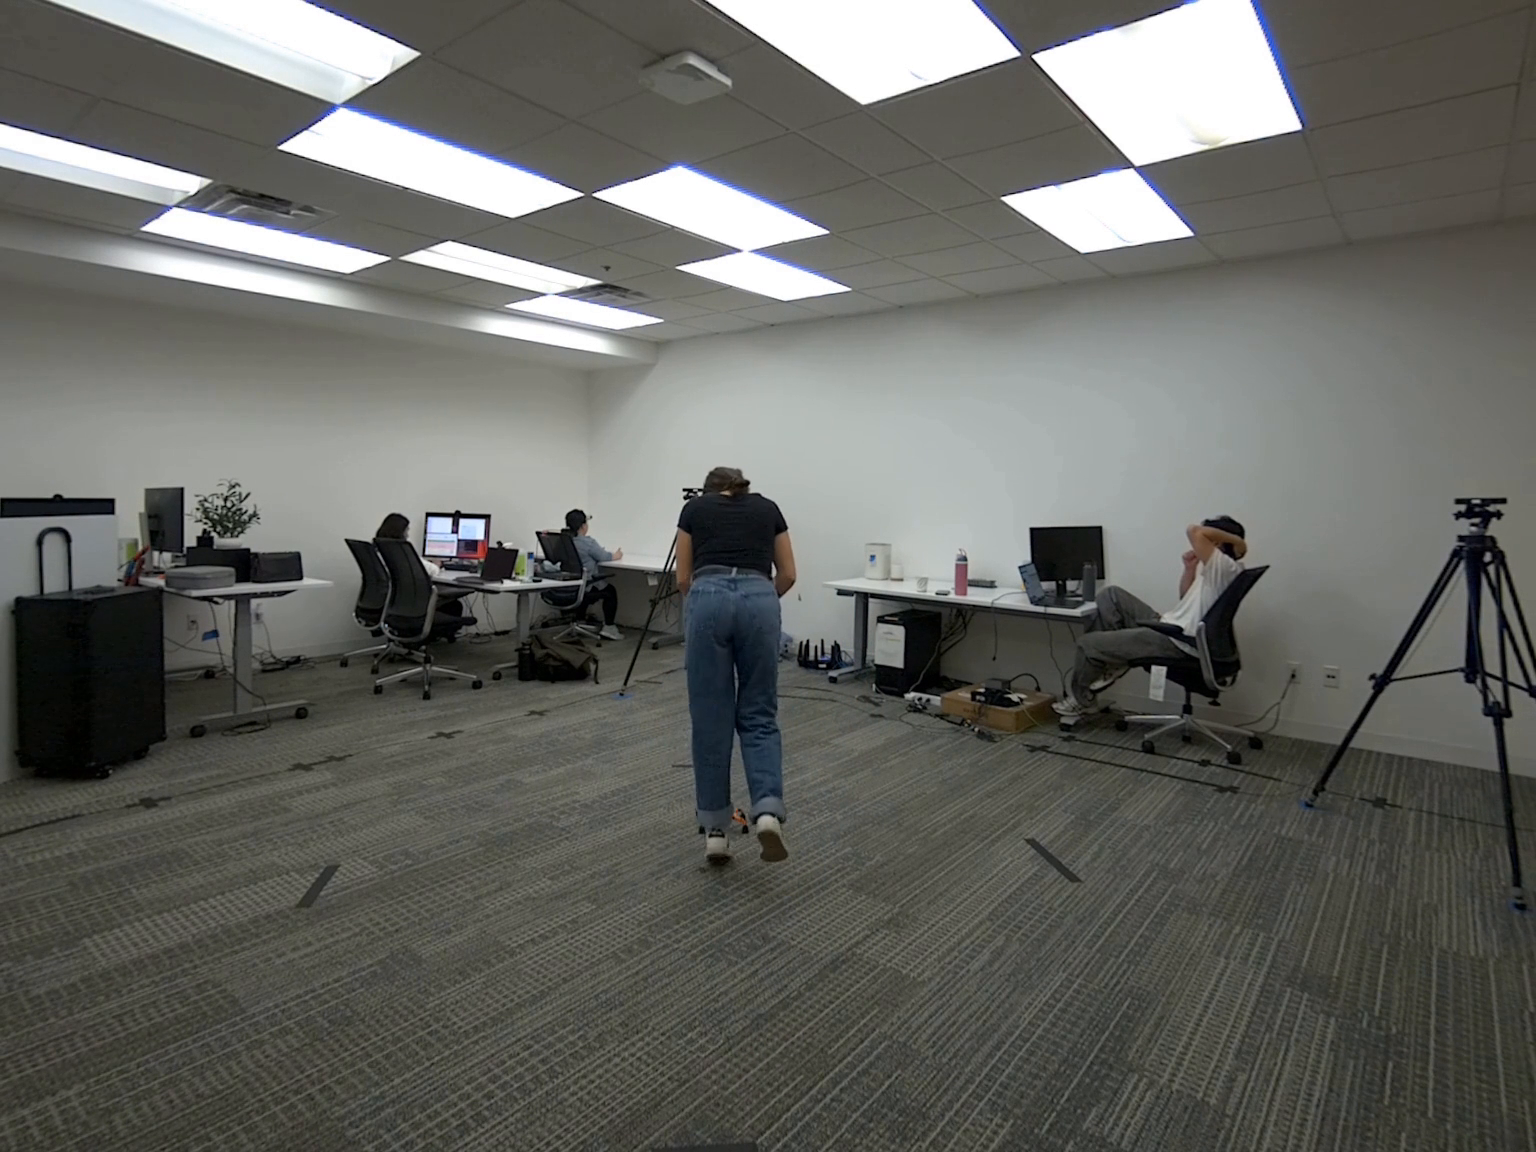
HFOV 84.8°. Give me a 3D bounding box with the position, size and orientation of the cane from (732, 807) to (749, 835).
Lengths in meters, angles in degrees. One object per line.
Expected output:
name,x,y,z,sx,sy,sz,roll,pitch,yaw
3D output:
cane,-0.166,0.567,3.487,0.206,0.906,0.152,1,3,-4
